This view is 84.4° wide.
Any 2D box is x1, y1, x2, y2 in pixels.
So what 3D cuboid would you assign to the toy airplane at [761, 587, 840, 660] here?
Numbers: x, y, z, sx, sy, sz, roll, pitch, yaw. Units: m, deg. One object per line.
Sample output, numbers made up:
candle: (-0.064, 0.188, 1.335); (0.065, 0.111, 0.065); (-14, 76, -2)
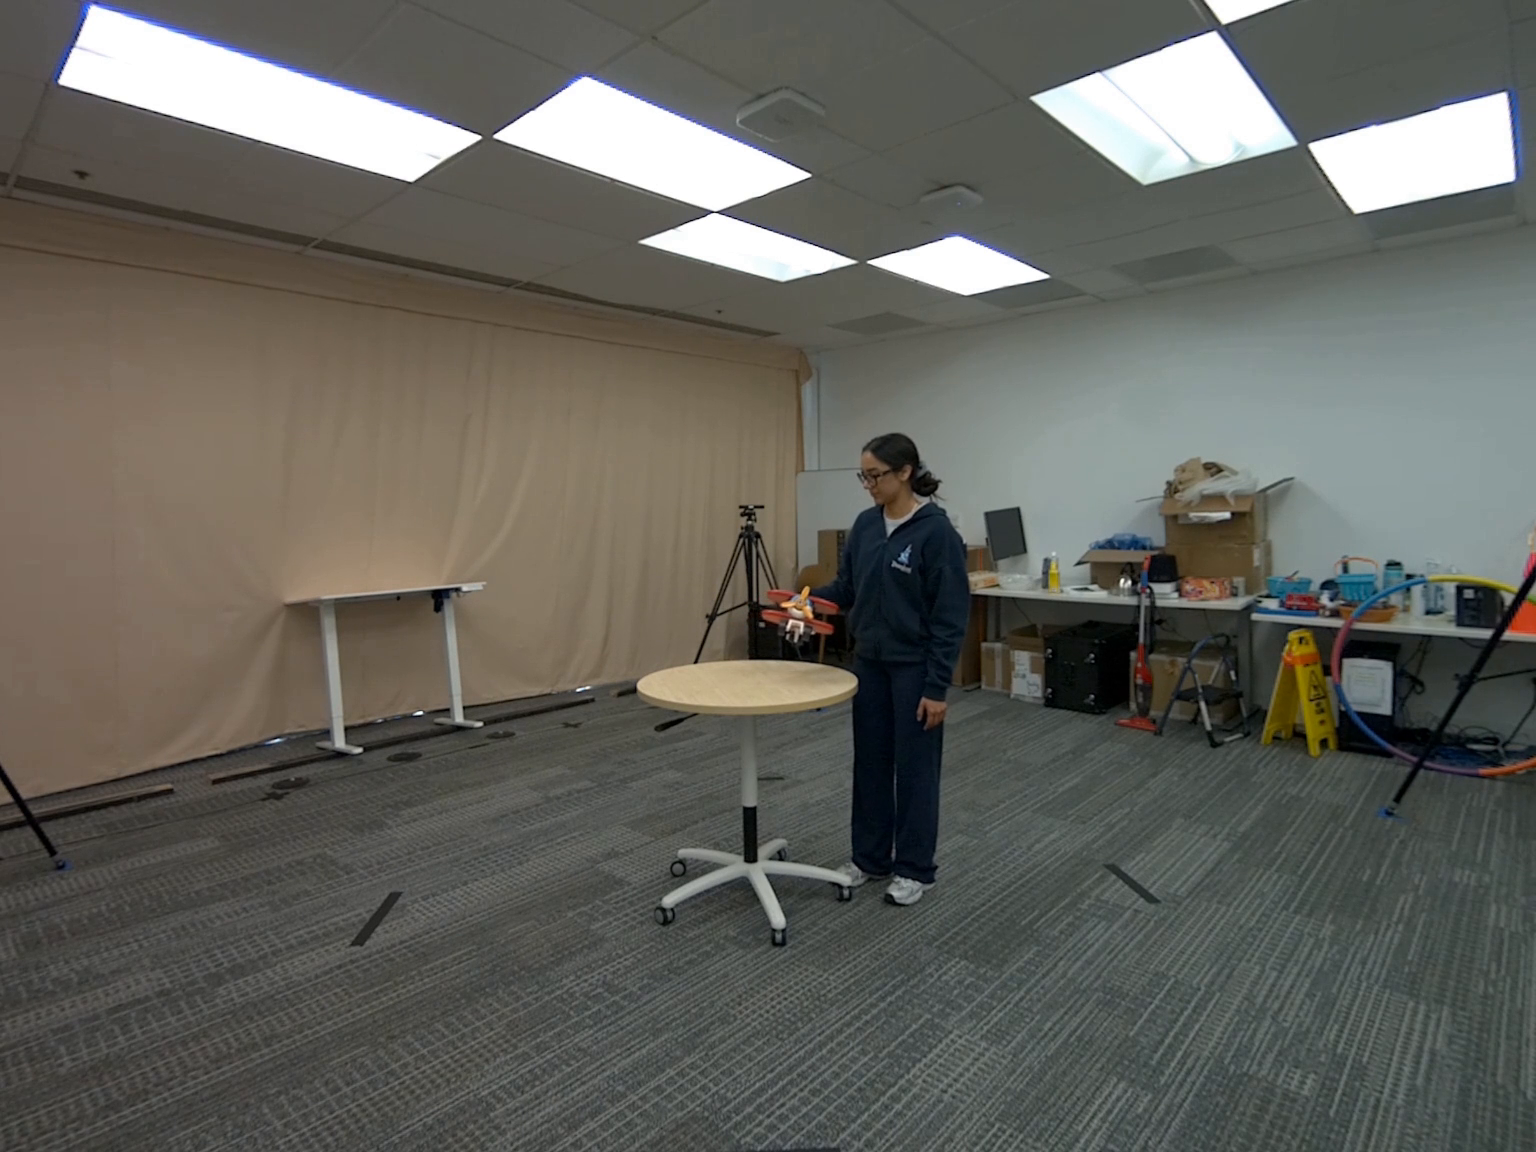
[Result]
toy airplane: (0.094, 0.153, 2.984); (0.246, 0.157, 0.263); (19, -10, -17)
